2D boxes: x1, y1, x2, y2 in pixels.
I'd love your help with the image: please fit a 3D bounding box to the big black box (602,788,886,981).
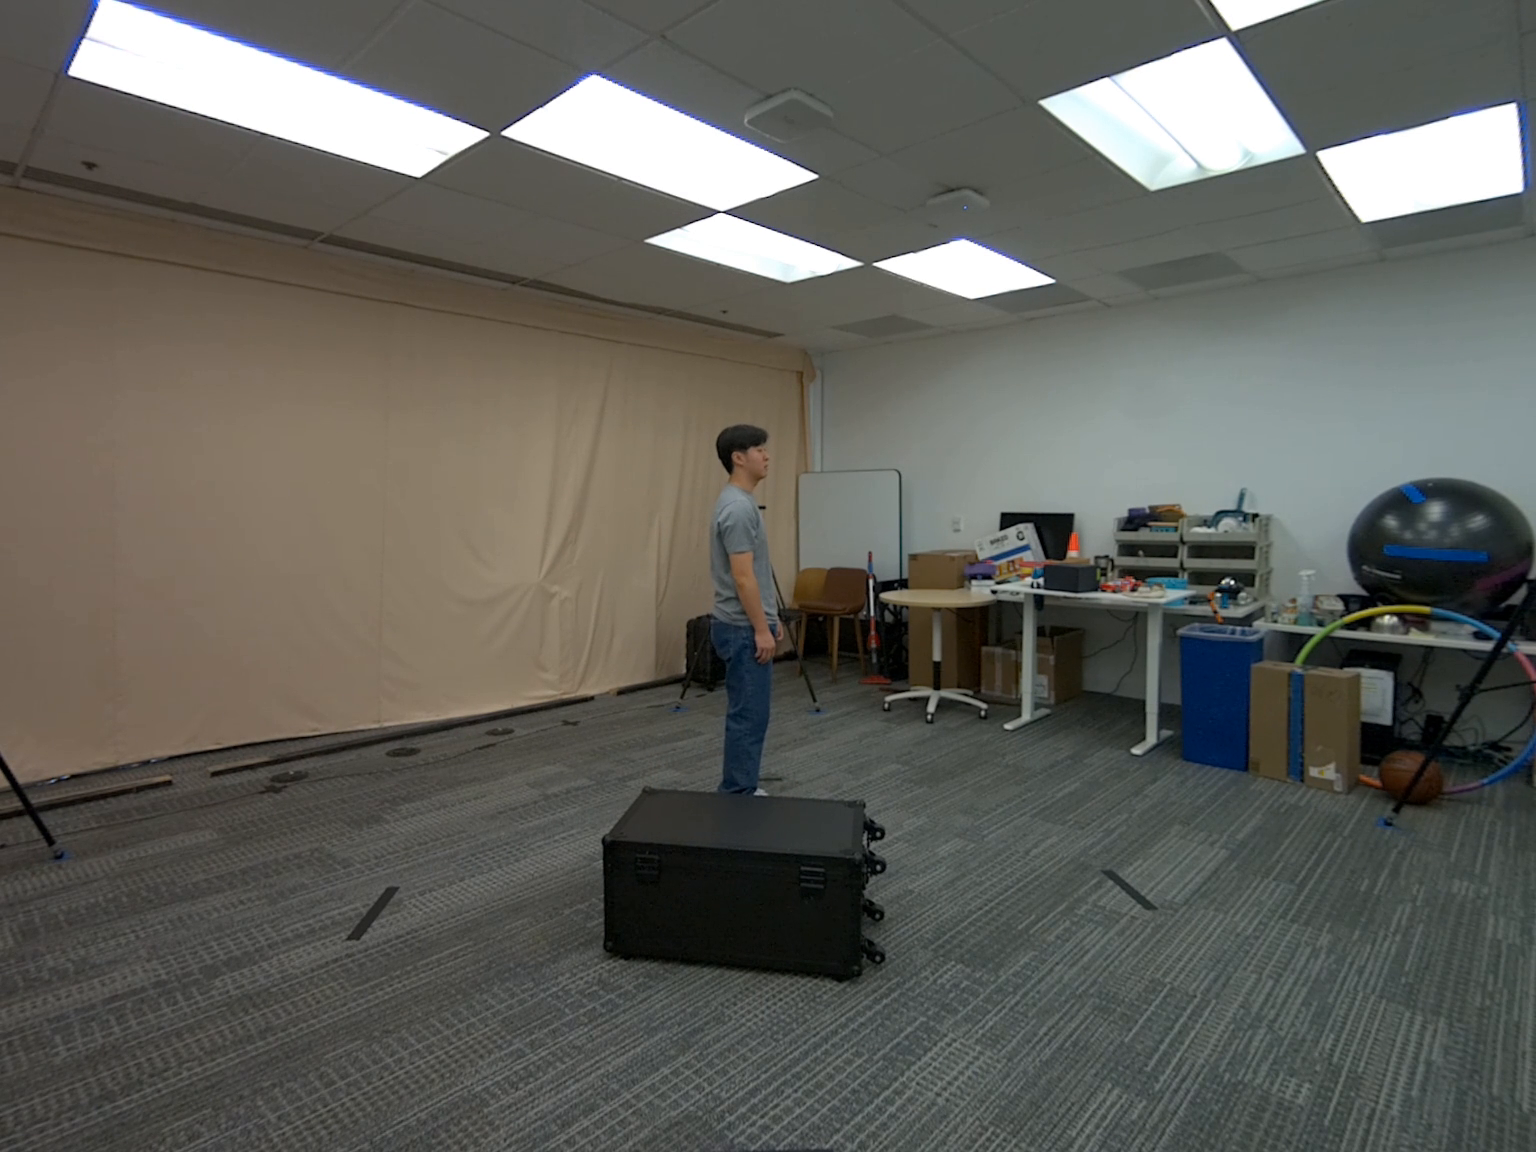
[{"bbox_3d":[-0.052,0.973,2.732,0.871,0.395,0.516,1,3,10],"label":"big black box"}]
